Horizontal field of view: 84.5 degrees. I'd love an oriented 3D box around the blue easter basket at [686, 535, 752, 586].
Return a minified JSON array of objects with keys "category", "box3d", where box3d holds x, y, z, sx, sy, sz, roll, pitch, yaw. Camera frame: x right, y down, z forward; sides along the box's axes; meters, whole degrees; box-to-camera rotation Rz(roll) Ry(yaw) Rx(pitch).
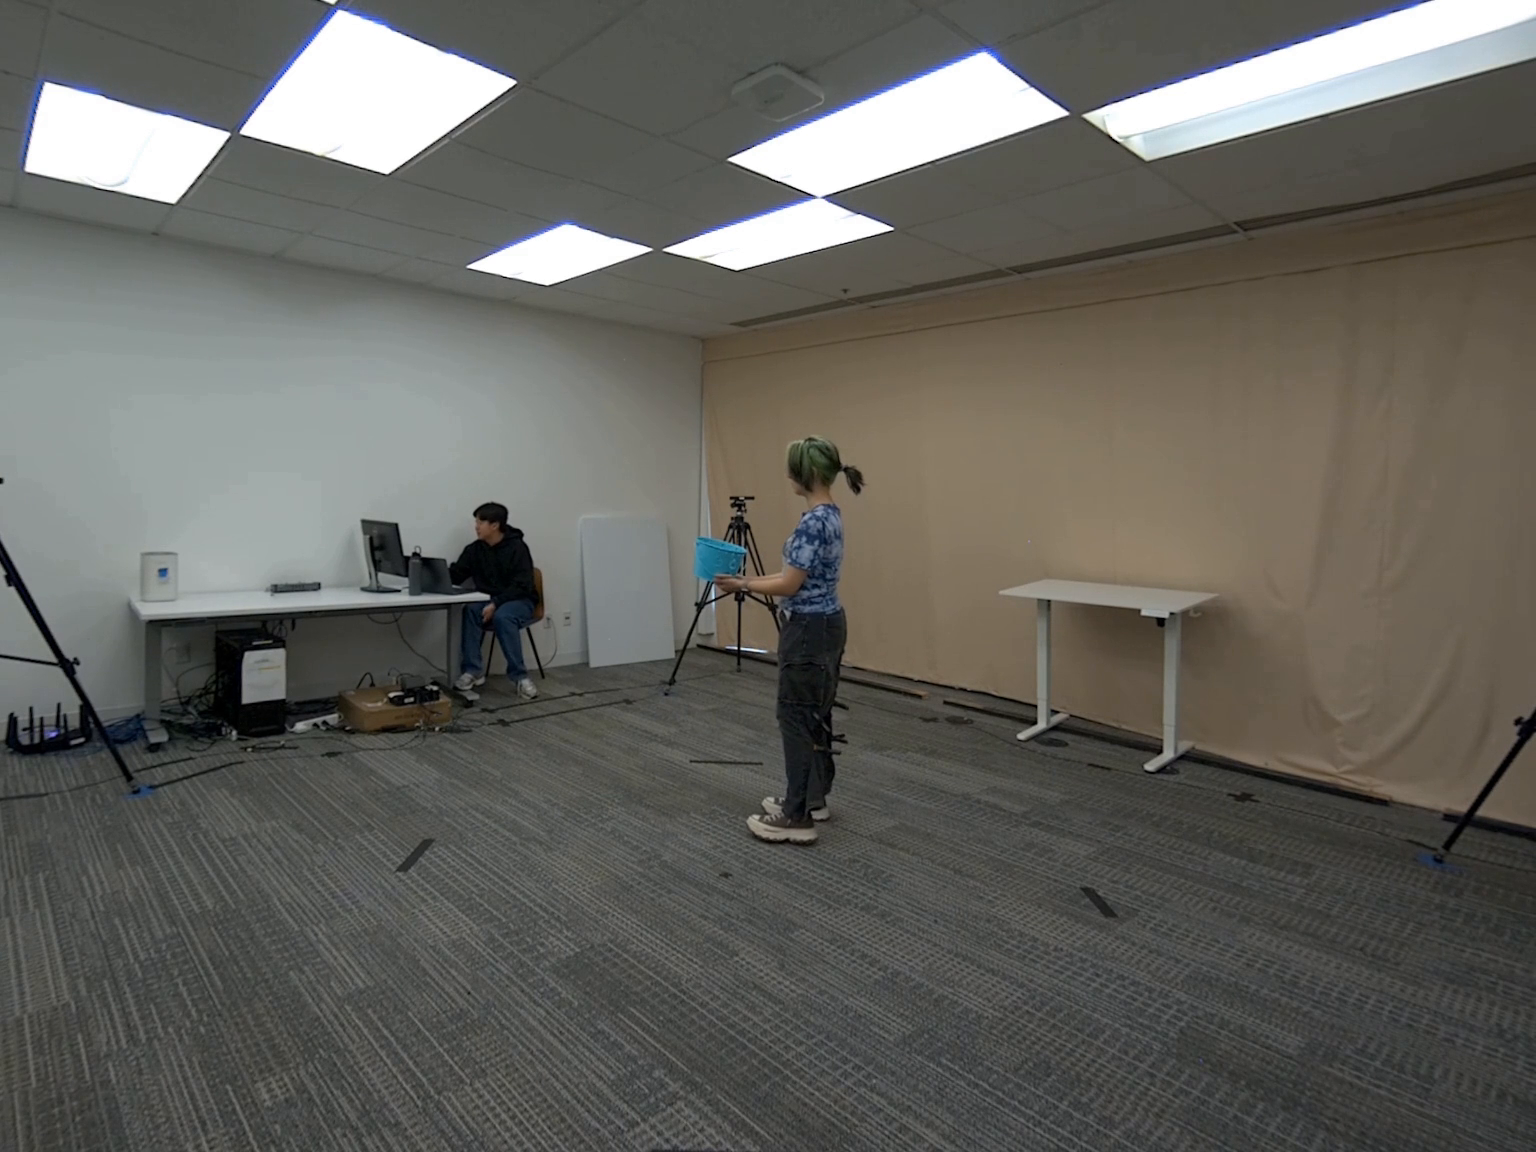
[{"category":"blue easter basket","box3d":[-0.211,-0.061,3.622,0.243,0.155,0.245,12,9,-3]}]
